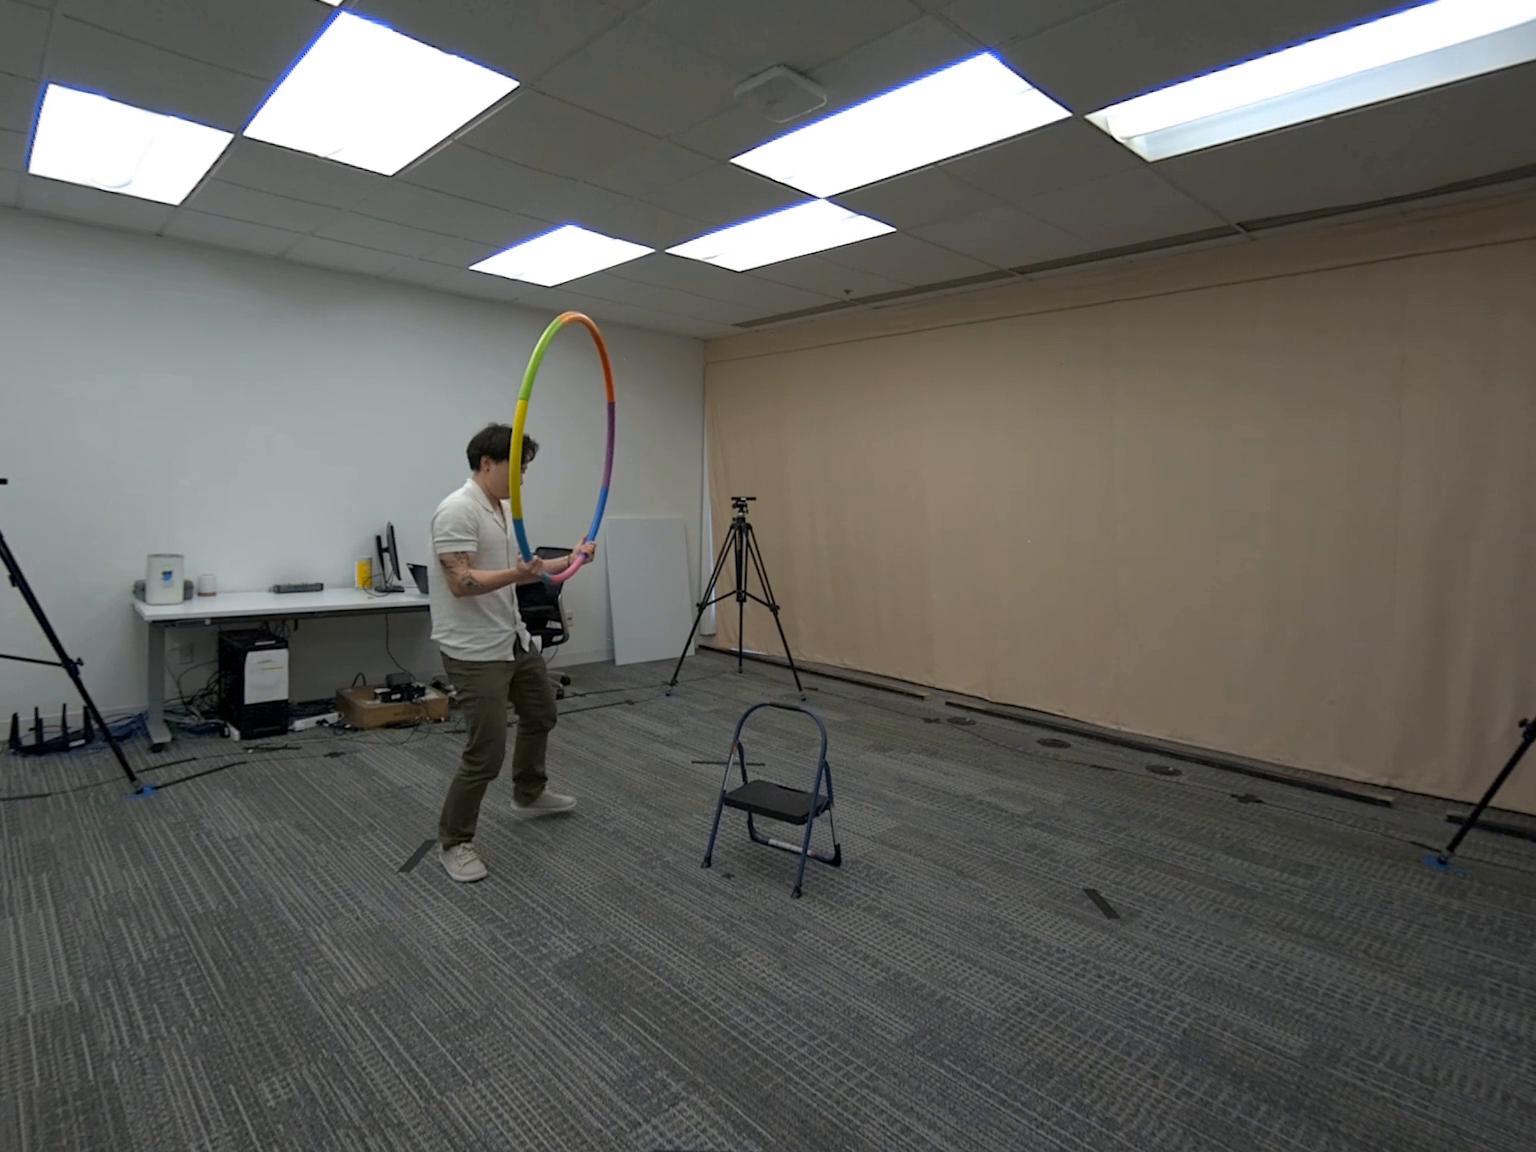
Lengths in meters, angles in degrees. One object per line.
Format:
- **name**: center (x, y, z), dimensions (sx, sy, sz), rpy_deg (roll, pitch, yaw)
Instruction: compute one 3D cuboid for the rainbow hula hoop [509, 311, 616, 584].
- **rainbow hula hoop**: center (-0.733, -0.452, 3.094), dimensions (0.036, 0.976, 0.974), rpy_deg (8, 5, 7)
